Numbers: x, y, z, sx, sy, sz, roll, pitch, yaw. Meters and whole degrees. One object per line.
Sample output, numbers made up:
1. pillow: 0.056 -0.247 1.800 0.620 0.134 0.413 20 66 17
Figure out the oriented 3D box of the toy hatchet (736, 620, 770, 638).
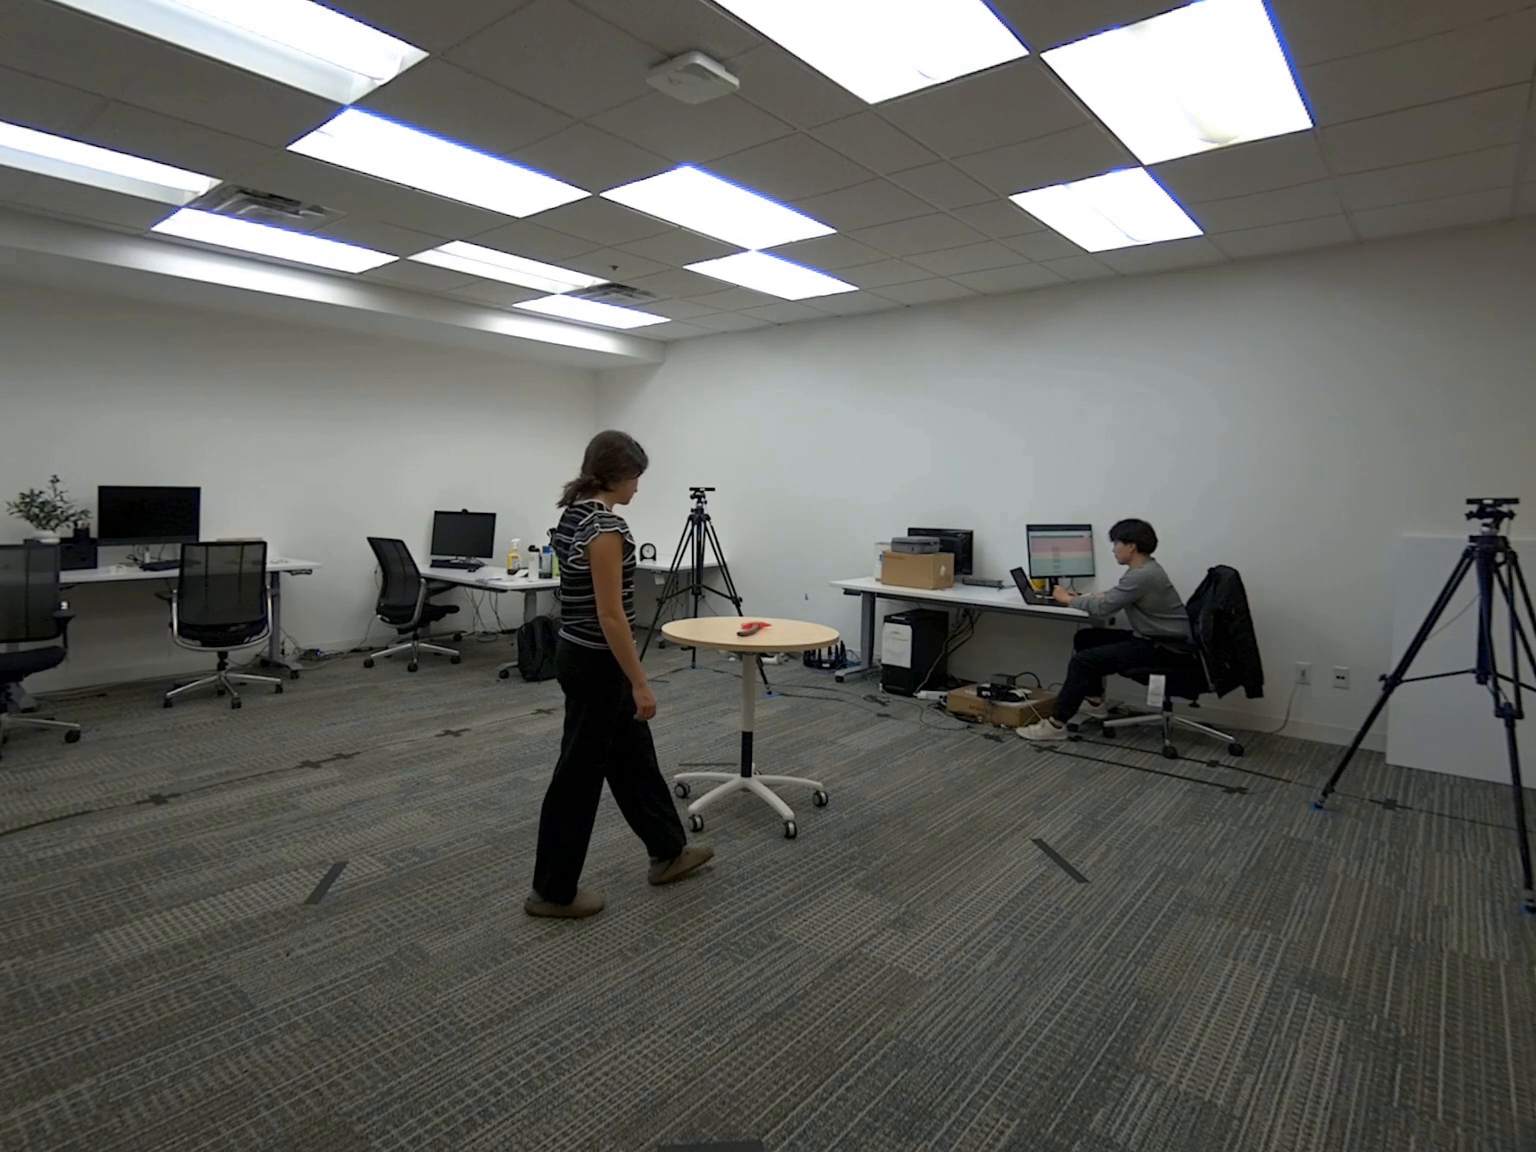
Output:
1. toy hatchet: -0.103 0.219 3.624 0.134 0.029 0.264 3 7 25
